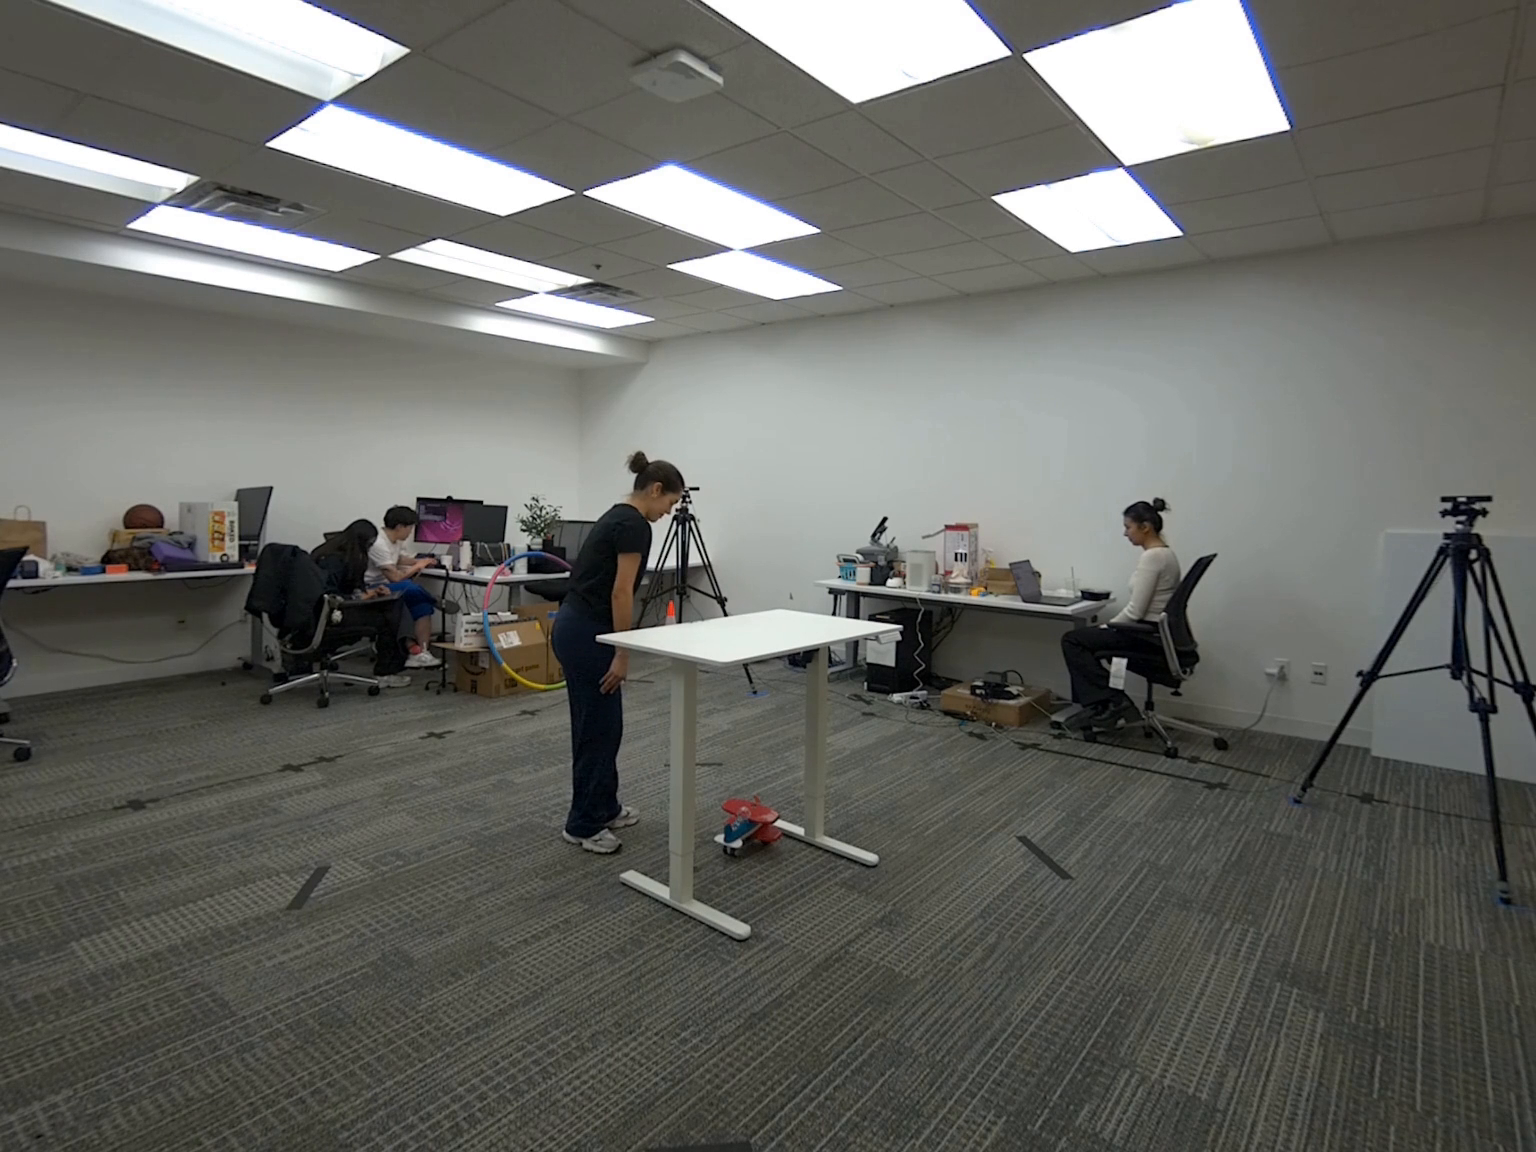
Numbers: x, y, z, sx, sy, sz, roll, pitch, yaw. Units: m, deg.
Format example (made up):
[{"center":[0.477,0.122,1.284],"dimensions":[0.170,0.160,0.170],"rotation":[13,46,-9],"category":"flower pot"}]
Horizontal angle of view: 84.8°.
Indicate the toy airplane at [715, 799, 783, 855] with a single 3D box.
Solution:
[{"center":[-0.052,0.980,3.300],"dimensions":[0.254,0.156,0.257],"rotation":[2,3,10],"category":"toy airplane"}]
